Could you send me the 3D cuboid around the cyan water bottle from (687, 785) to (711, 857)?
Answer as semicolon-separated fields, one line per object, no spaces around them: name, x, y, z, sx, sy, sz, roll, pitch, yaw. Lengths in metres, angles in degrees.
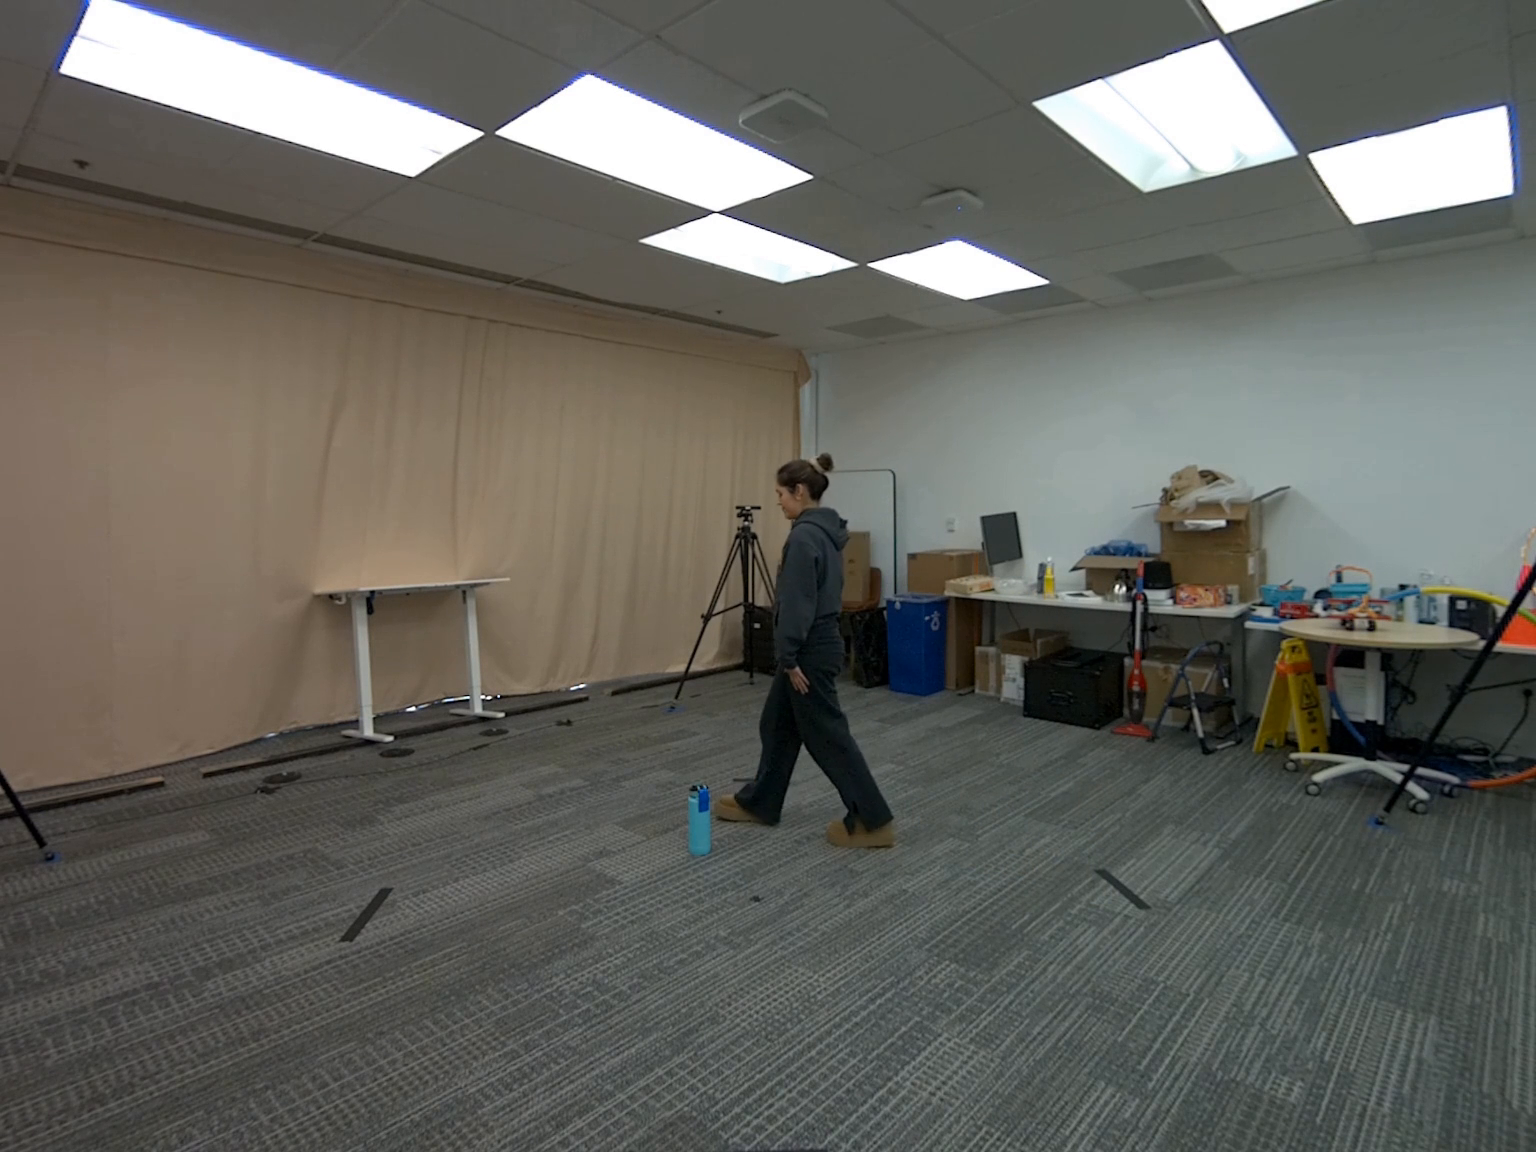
cyan water bottle;-0.252;0.968;3.390;0.092;0.283;0.093;0;4;-2
